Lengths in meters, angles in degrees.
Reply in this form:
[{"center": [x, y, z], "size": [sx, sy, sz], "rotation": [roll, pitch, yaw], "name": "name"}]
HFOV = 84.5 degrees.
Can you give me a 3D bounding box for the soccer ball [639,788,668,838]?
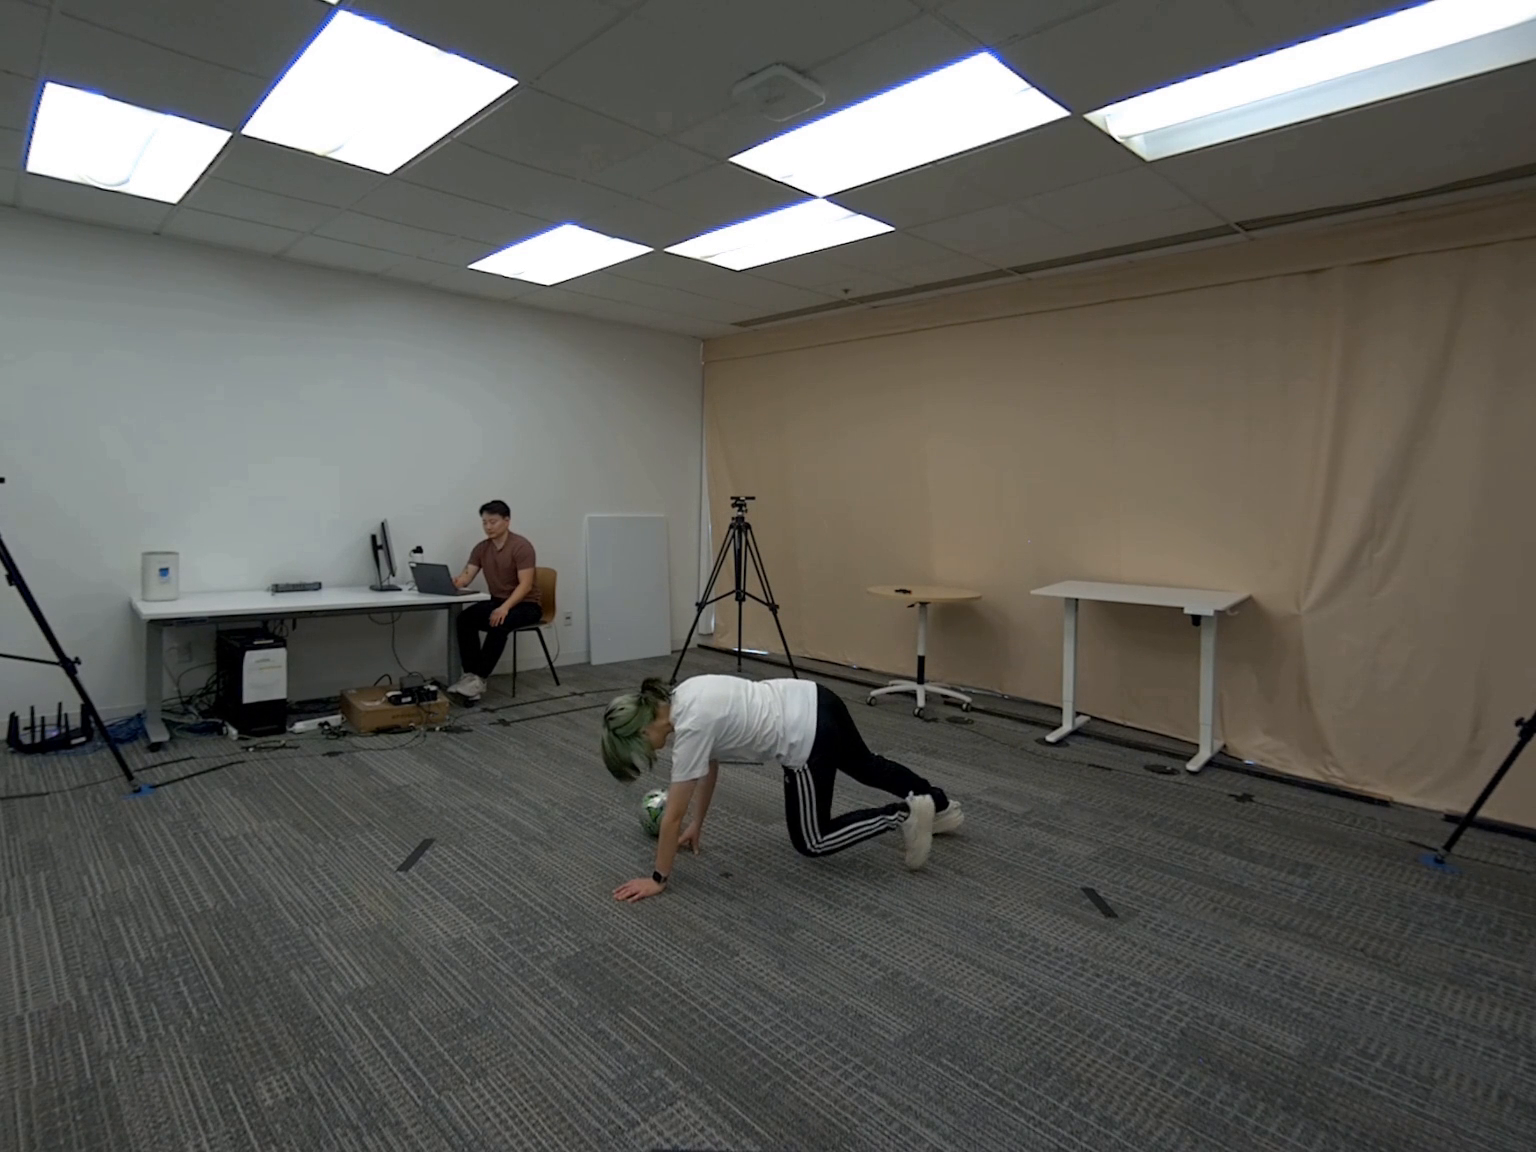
[{"center": [-0.447, 0.968, 3.473], "size": [0.187, 0.187, 0.188], "rotation": [1, 4, -1], "name": "soccer ball"}]
